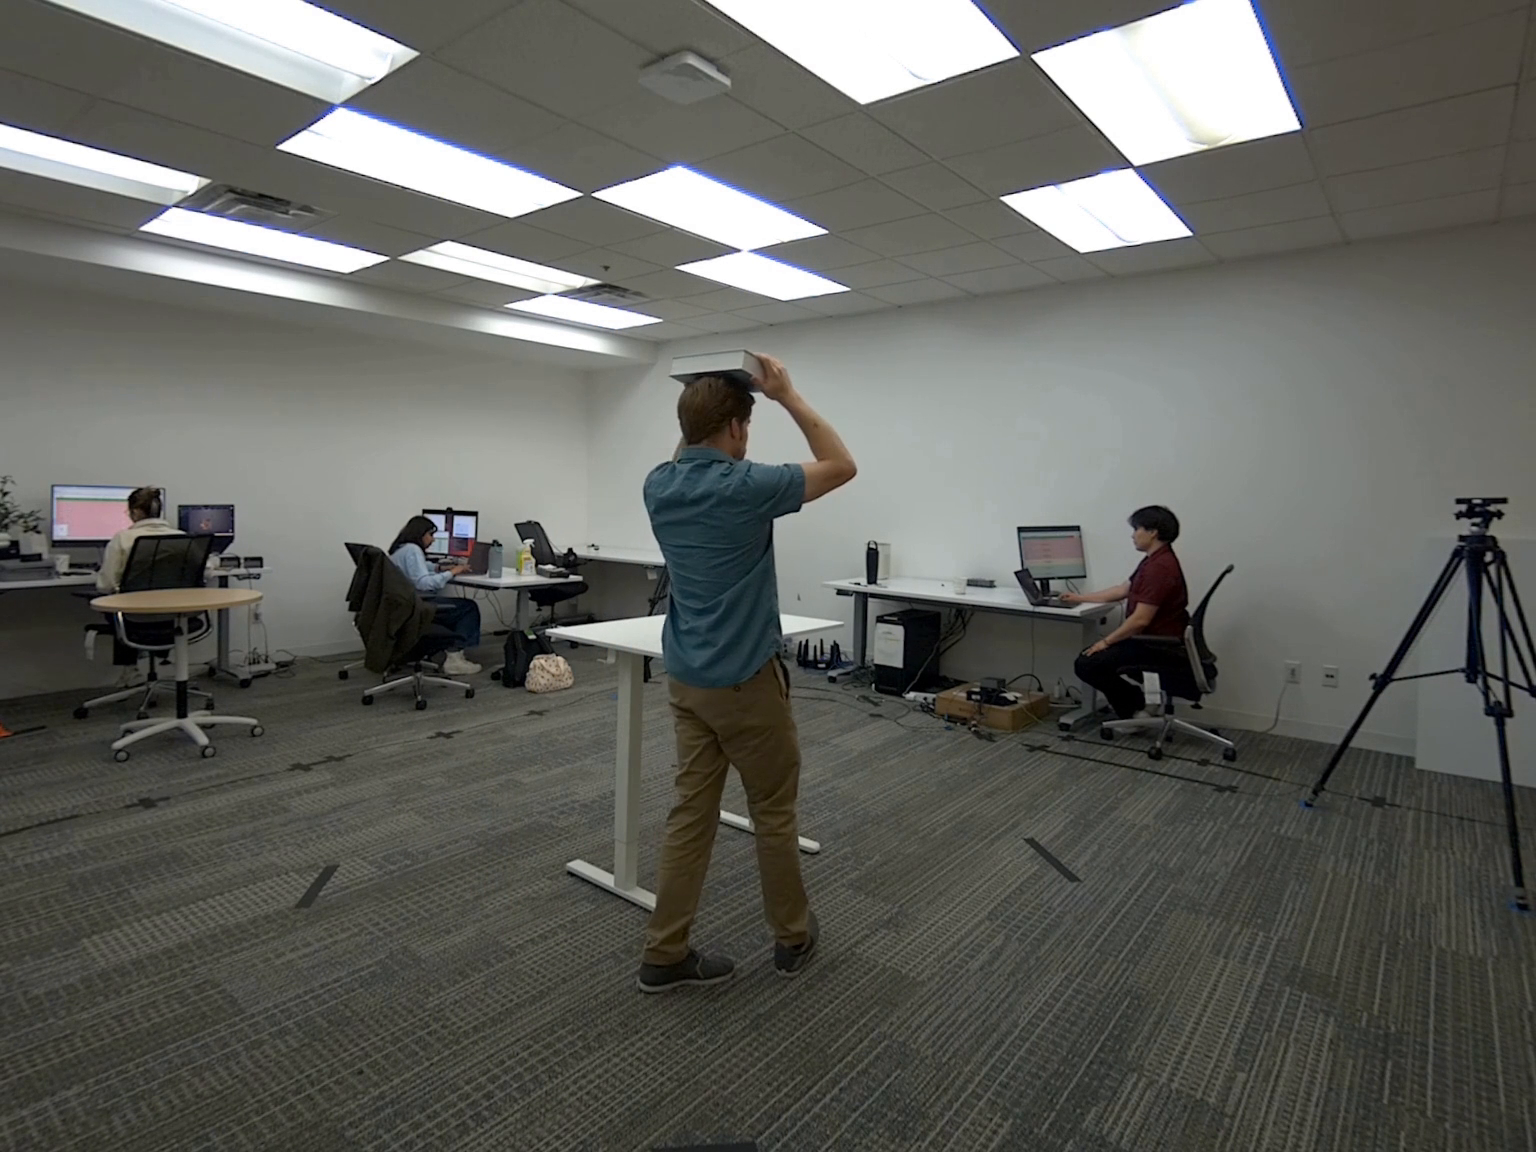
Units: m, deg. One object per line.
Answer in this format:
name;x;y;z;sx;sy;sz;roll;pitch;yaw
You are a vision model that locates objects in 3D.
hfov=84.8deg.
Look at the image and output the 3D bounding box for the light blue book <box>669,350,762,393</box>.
light blue book;-0.128;-0.565;2.379;0.270;0.059;0.184;6;-7;37
